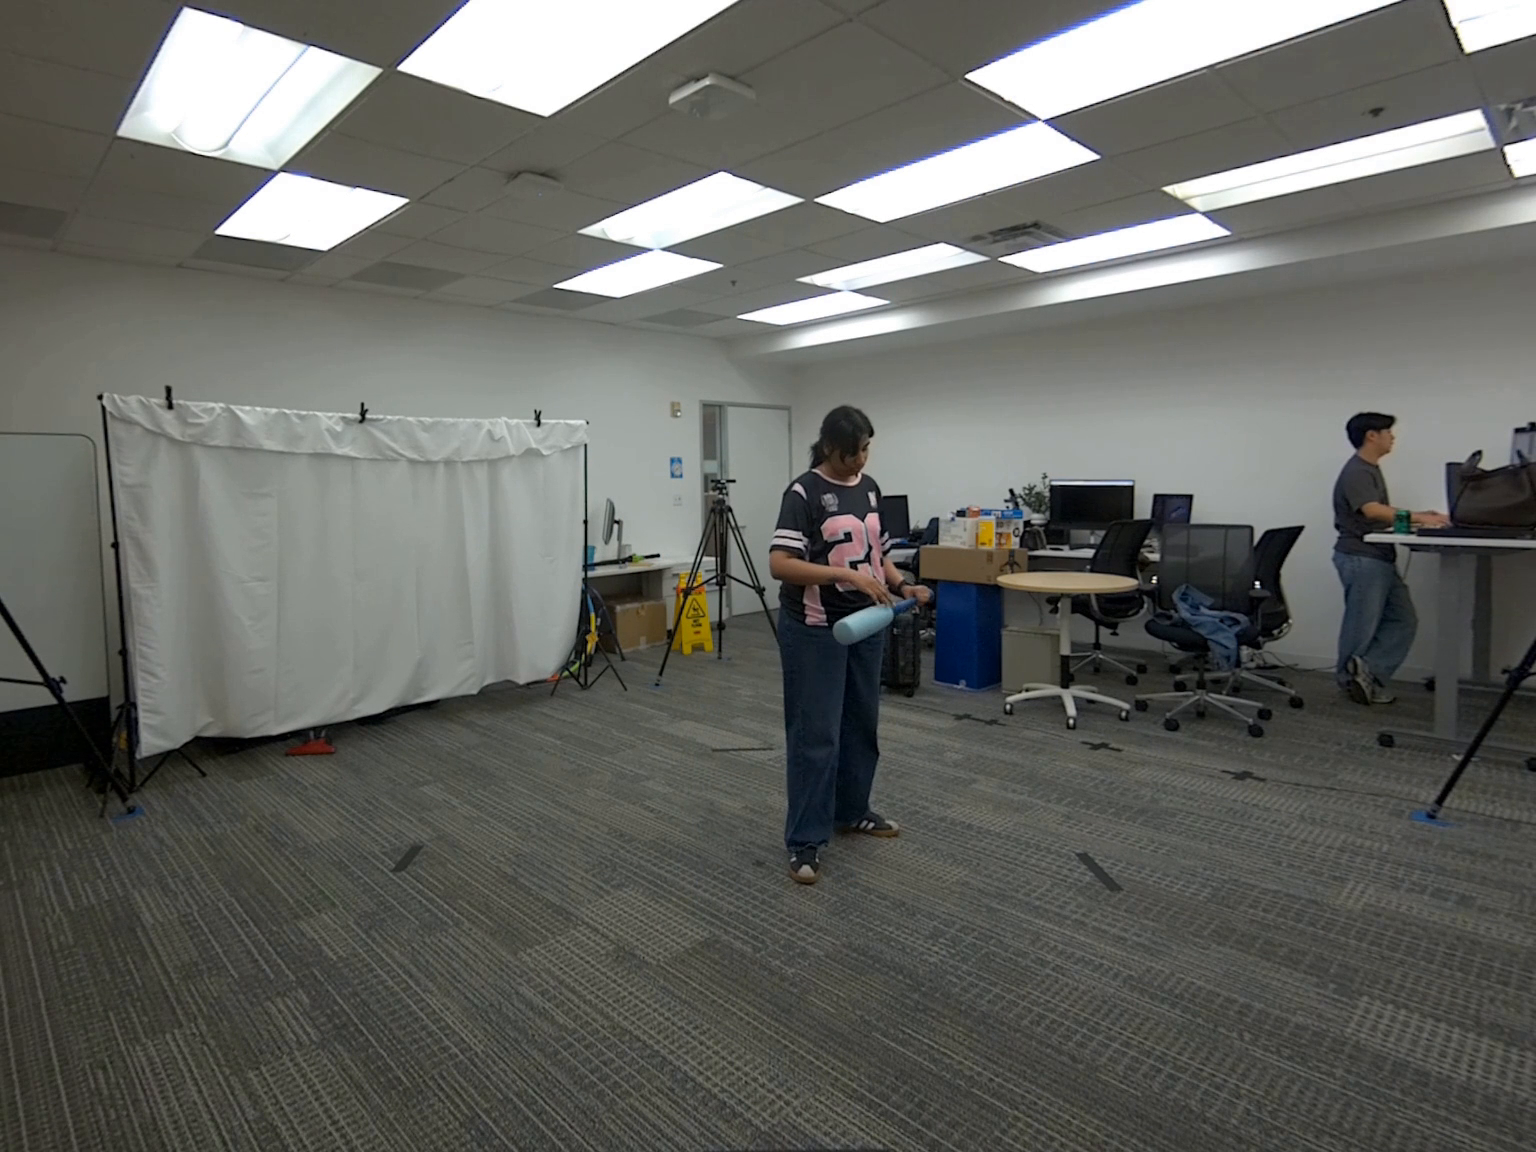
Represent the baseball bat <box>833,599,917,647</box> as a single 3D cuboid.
[{"bbox_3d":[0.394,0.128,2.973,0.092,0.088,0.533,3,16,39],"label":"baseball bat"}]
